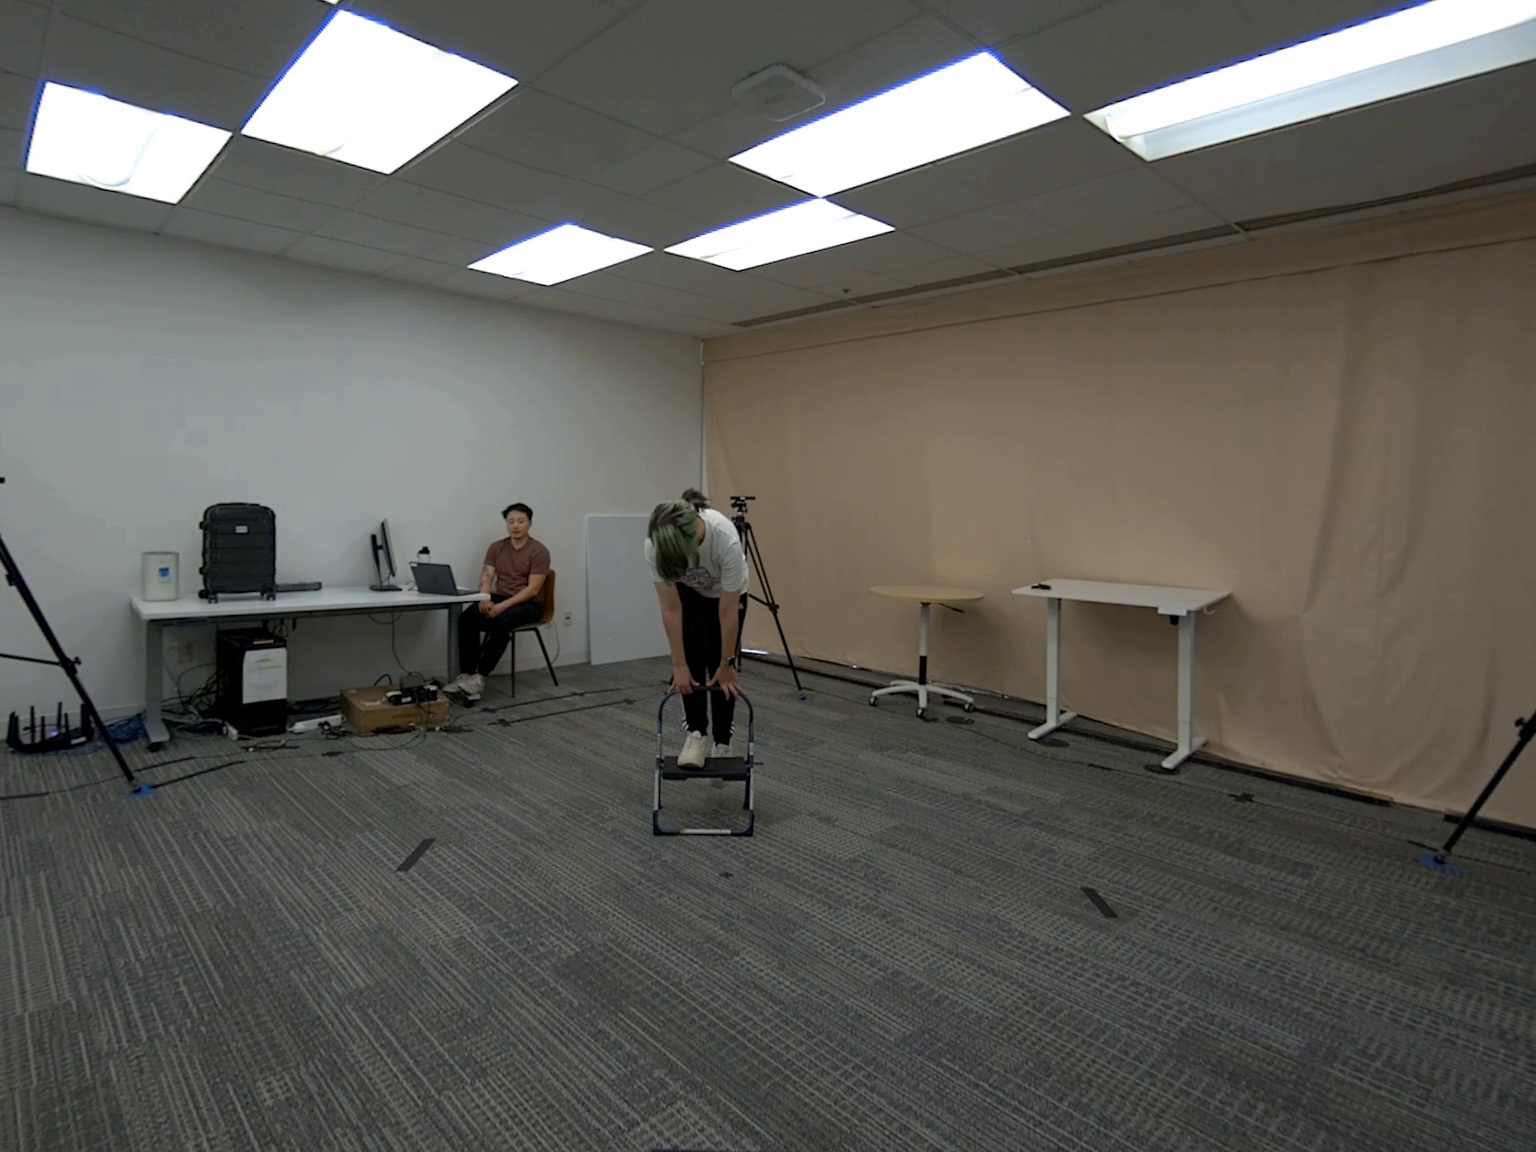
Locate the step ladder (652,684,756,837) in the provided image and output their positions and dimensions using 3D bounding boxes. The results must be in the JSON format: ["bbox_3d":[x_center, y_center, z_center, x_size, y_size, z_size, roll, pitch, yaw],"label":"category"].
[{"bbox_3d":[-0.279,0.759,3.613,0.429,0.605,0.351,2,3,-4],"label":"step ladder"}]
